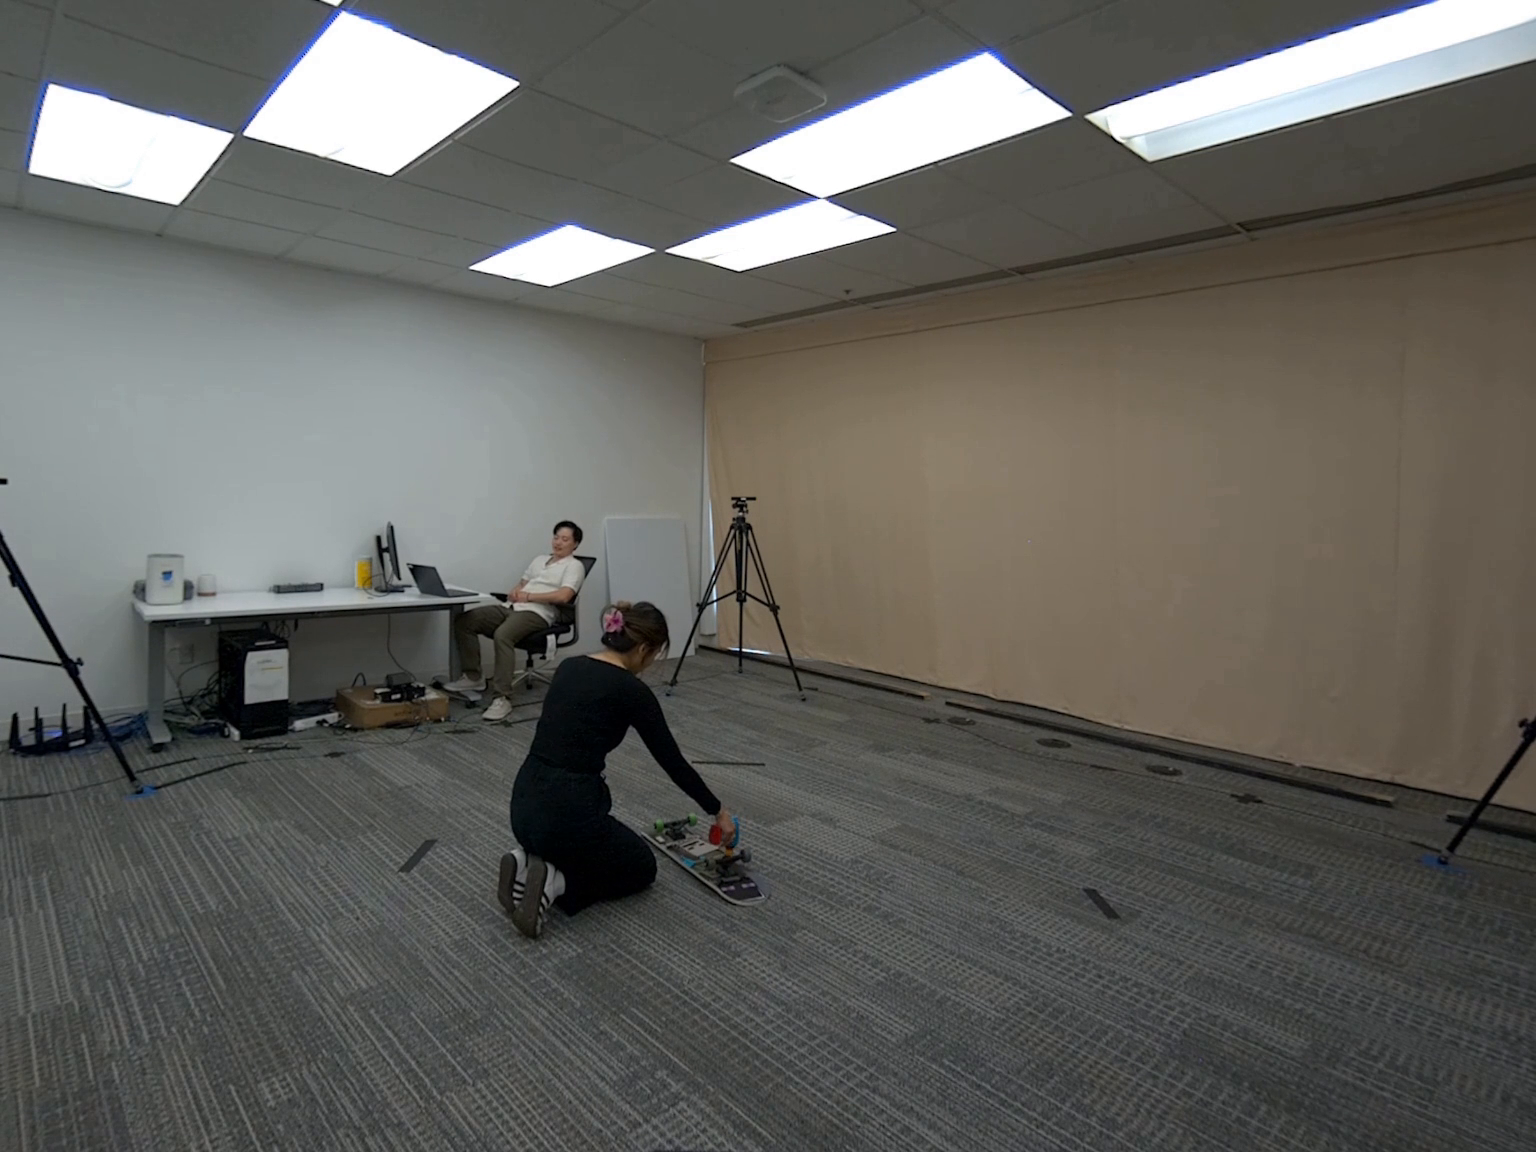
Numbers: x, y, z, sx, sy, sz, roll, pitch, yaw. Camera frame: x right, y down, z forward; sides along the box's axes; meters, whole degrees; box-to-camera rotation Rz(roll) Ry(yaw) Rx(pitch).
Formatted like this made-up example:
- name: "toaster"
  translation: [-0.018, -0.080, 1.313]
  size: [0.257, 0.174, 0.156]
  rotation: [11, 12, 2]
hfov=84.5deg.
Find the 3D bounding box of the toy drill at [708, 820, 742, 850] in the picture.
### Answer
- name: "toy drill"
  translation: [-0.169, 0.976, 3.061]
  size: [0.062, 0.170, 0.143]
  rotation: [5, -3, 27]
